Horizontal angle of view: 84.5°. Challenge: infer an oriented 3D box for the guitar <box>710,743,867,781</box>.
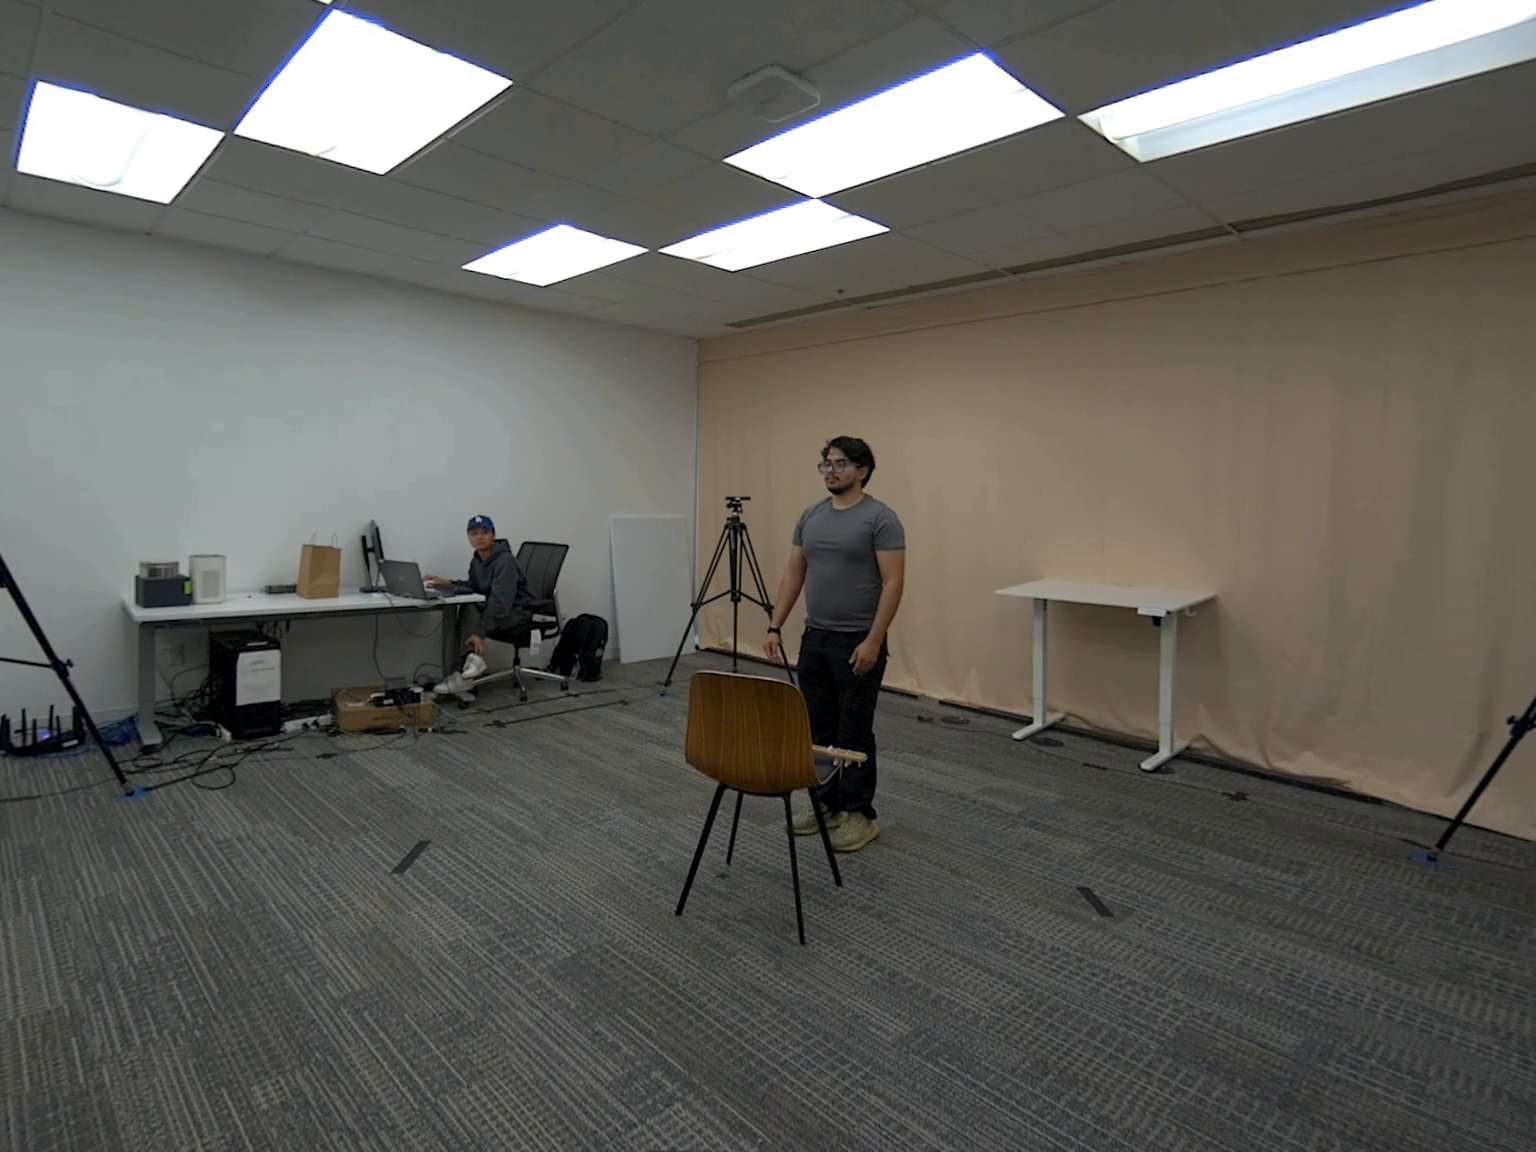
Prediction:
[{"bbox_3d":[0.076,0.617,2.904,0.510,0.070,0.189,6,8,33],"label":"guitar"}]
